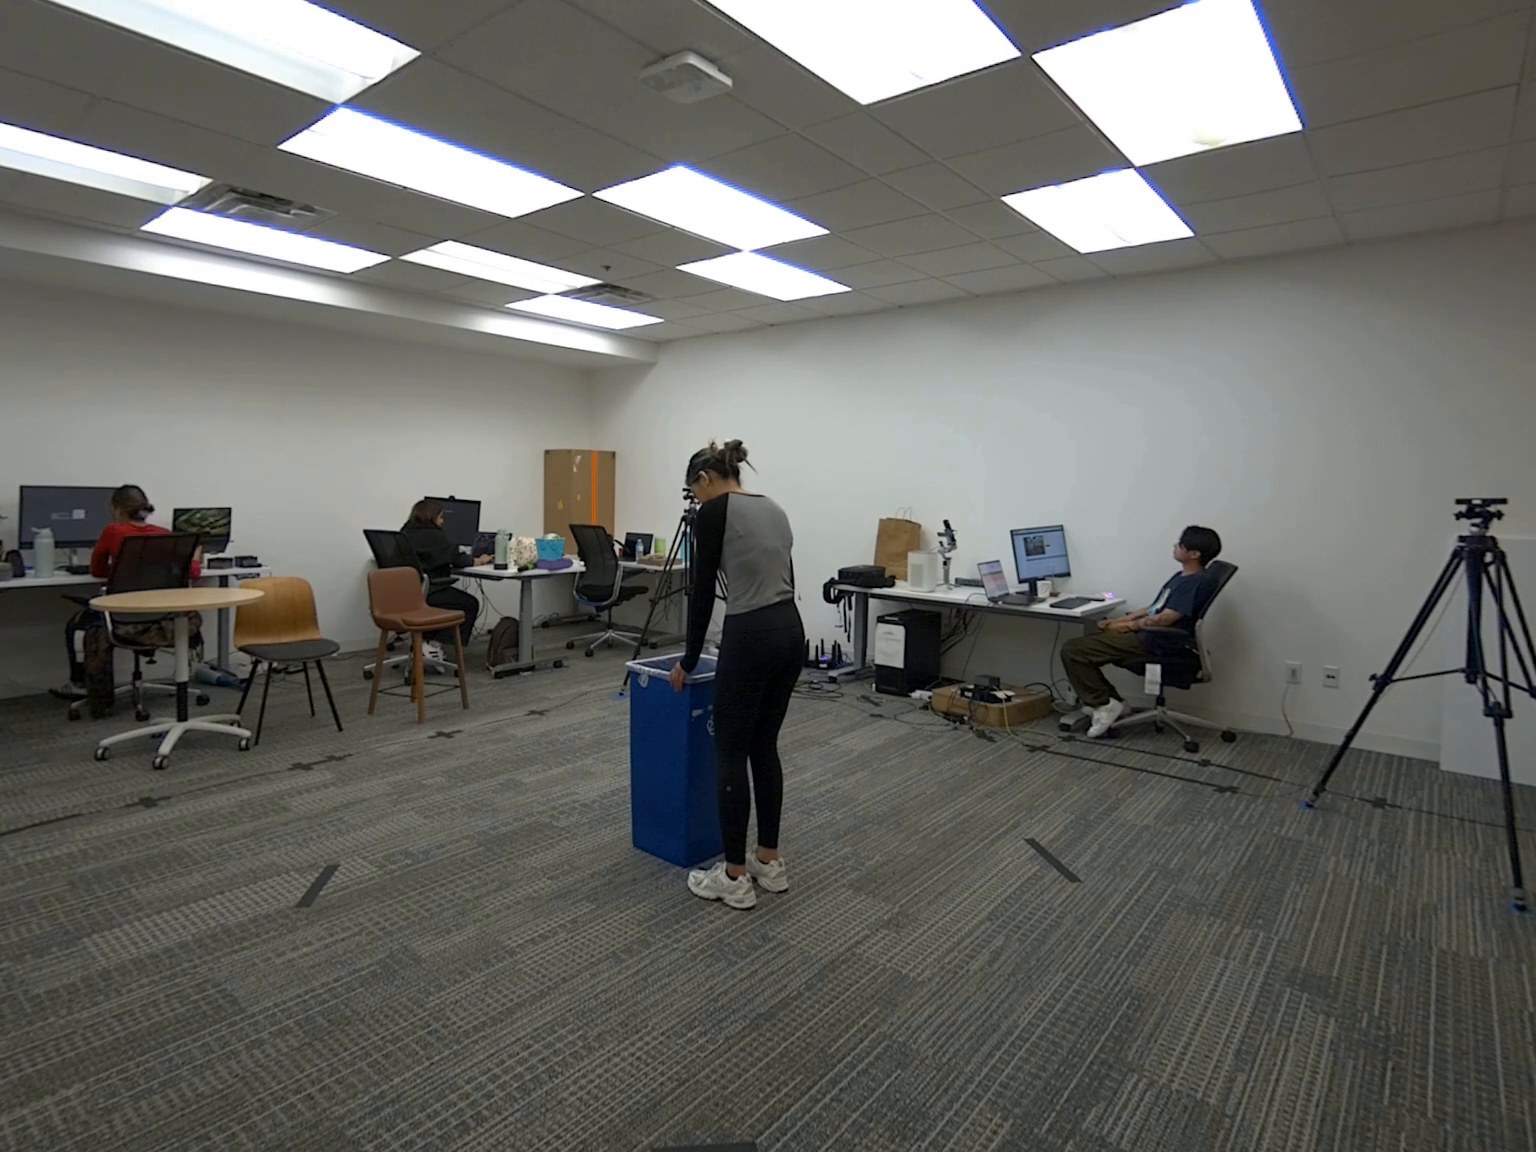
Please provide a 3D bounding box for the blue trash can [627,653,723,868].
[{"bbox_3d":[-0.323,0.690,3.308,0.391,0.711,0.363,4,5,40],"label":"blue trash can"}]
